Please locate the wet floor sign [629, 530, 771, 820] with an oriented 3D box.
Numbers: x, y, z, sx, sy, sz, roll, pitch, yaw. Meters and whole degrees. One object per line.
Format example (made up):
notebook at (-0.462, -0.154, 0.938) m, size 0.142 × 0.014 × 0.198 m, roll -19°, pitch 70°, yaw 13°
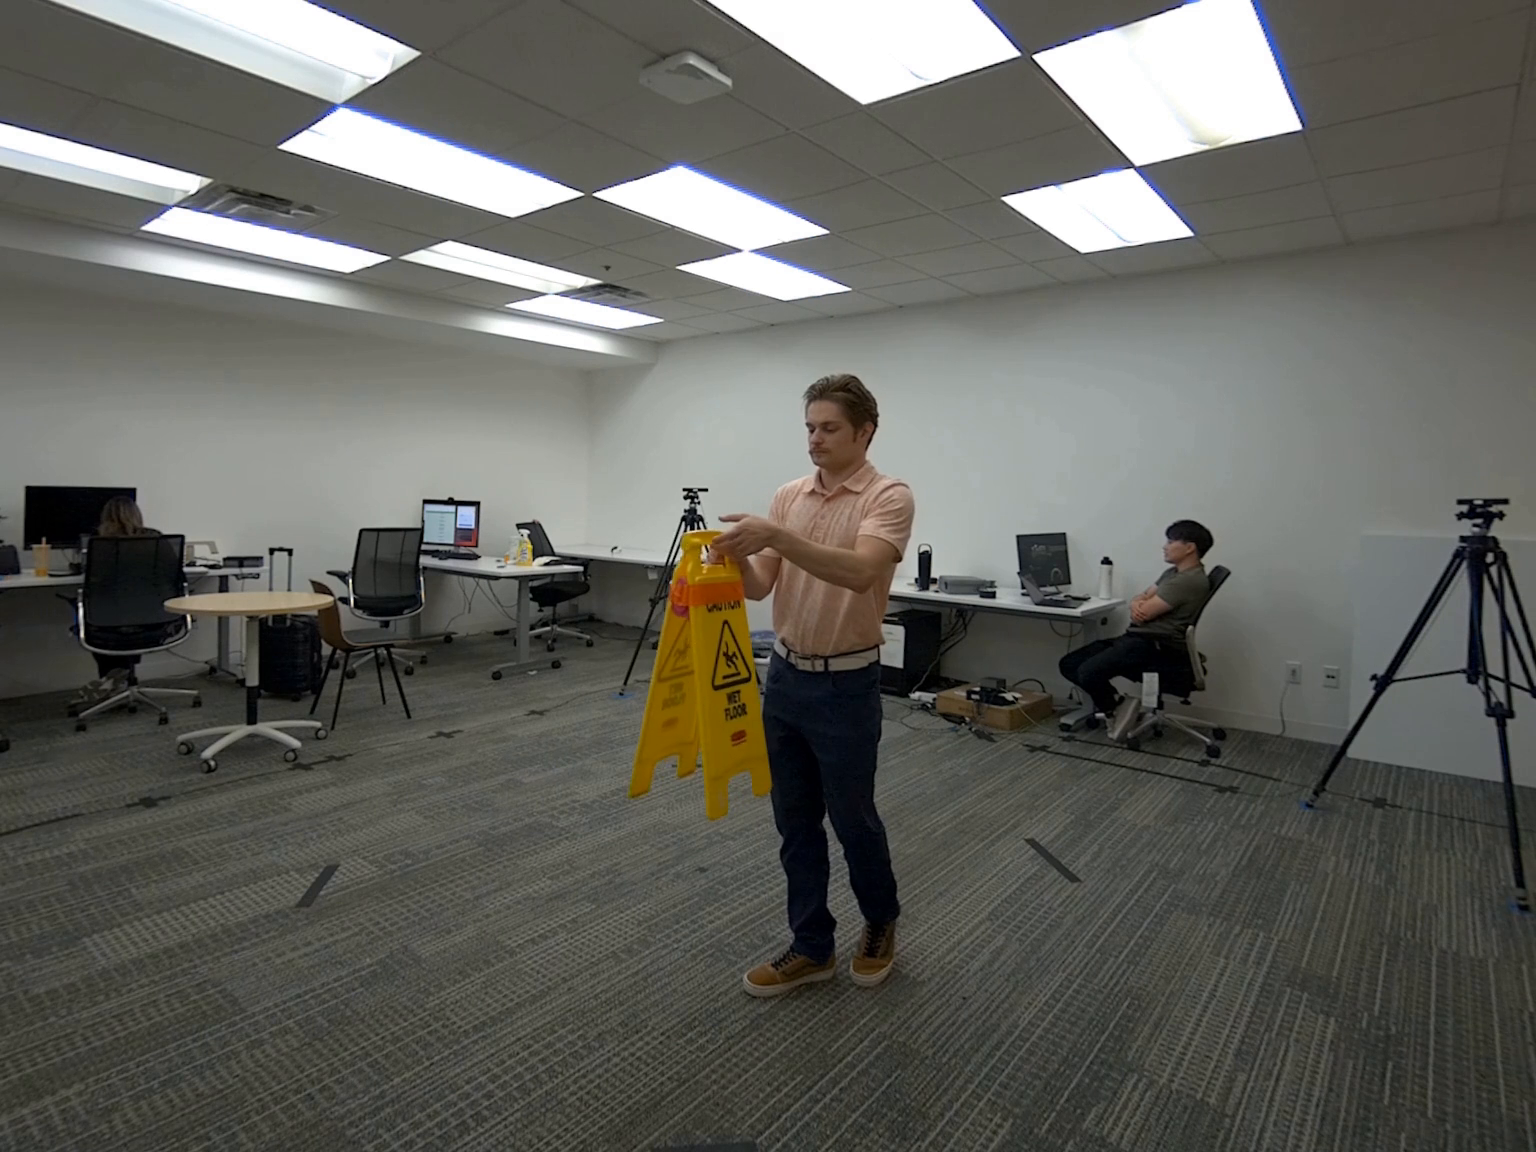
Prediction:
wet floor sign at (-0.165, 0.214, 2.091) m, size 0.298 × 0.645 × 0.274 m, roll 3°, pitch 2°, yaw 31°
